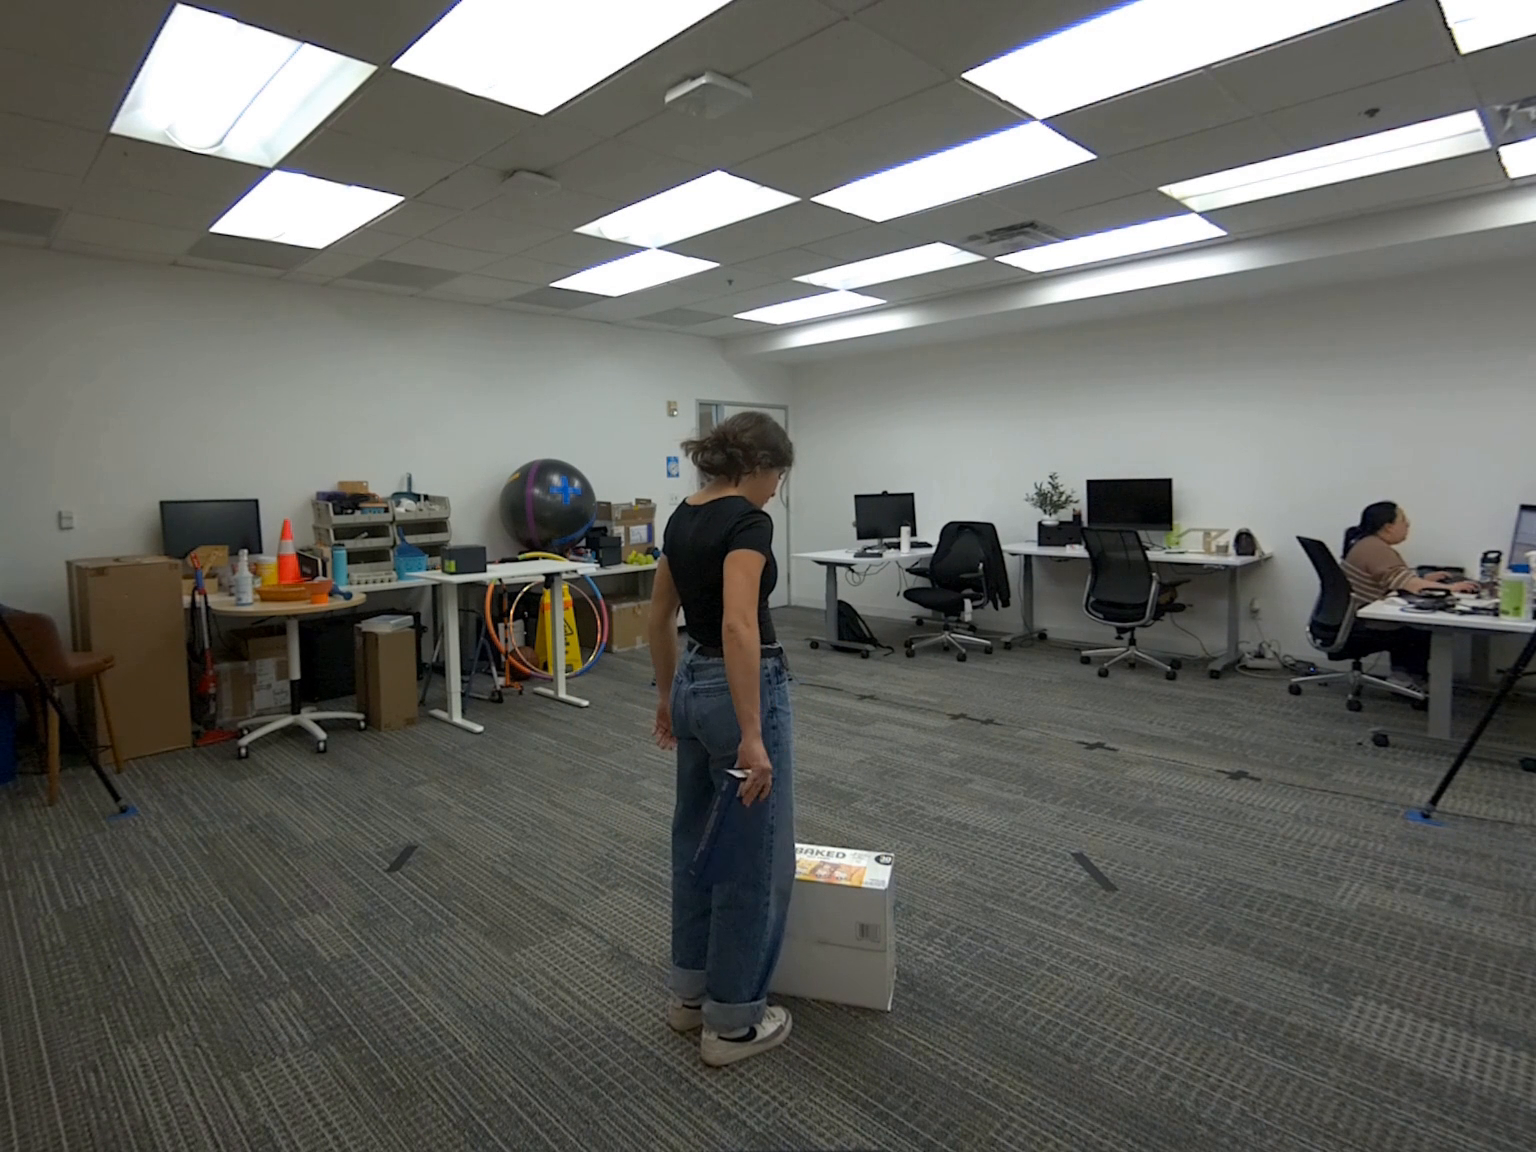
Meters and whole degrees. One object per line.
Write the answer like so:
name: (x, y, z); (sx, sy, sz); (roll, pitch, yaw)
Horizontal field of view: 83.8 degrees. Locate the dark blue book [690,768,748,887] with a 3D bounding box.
dark blue book: (-0.078, 0.539, 1.837); (0.046, 0.245, 0.158); (17, -2, 30)
